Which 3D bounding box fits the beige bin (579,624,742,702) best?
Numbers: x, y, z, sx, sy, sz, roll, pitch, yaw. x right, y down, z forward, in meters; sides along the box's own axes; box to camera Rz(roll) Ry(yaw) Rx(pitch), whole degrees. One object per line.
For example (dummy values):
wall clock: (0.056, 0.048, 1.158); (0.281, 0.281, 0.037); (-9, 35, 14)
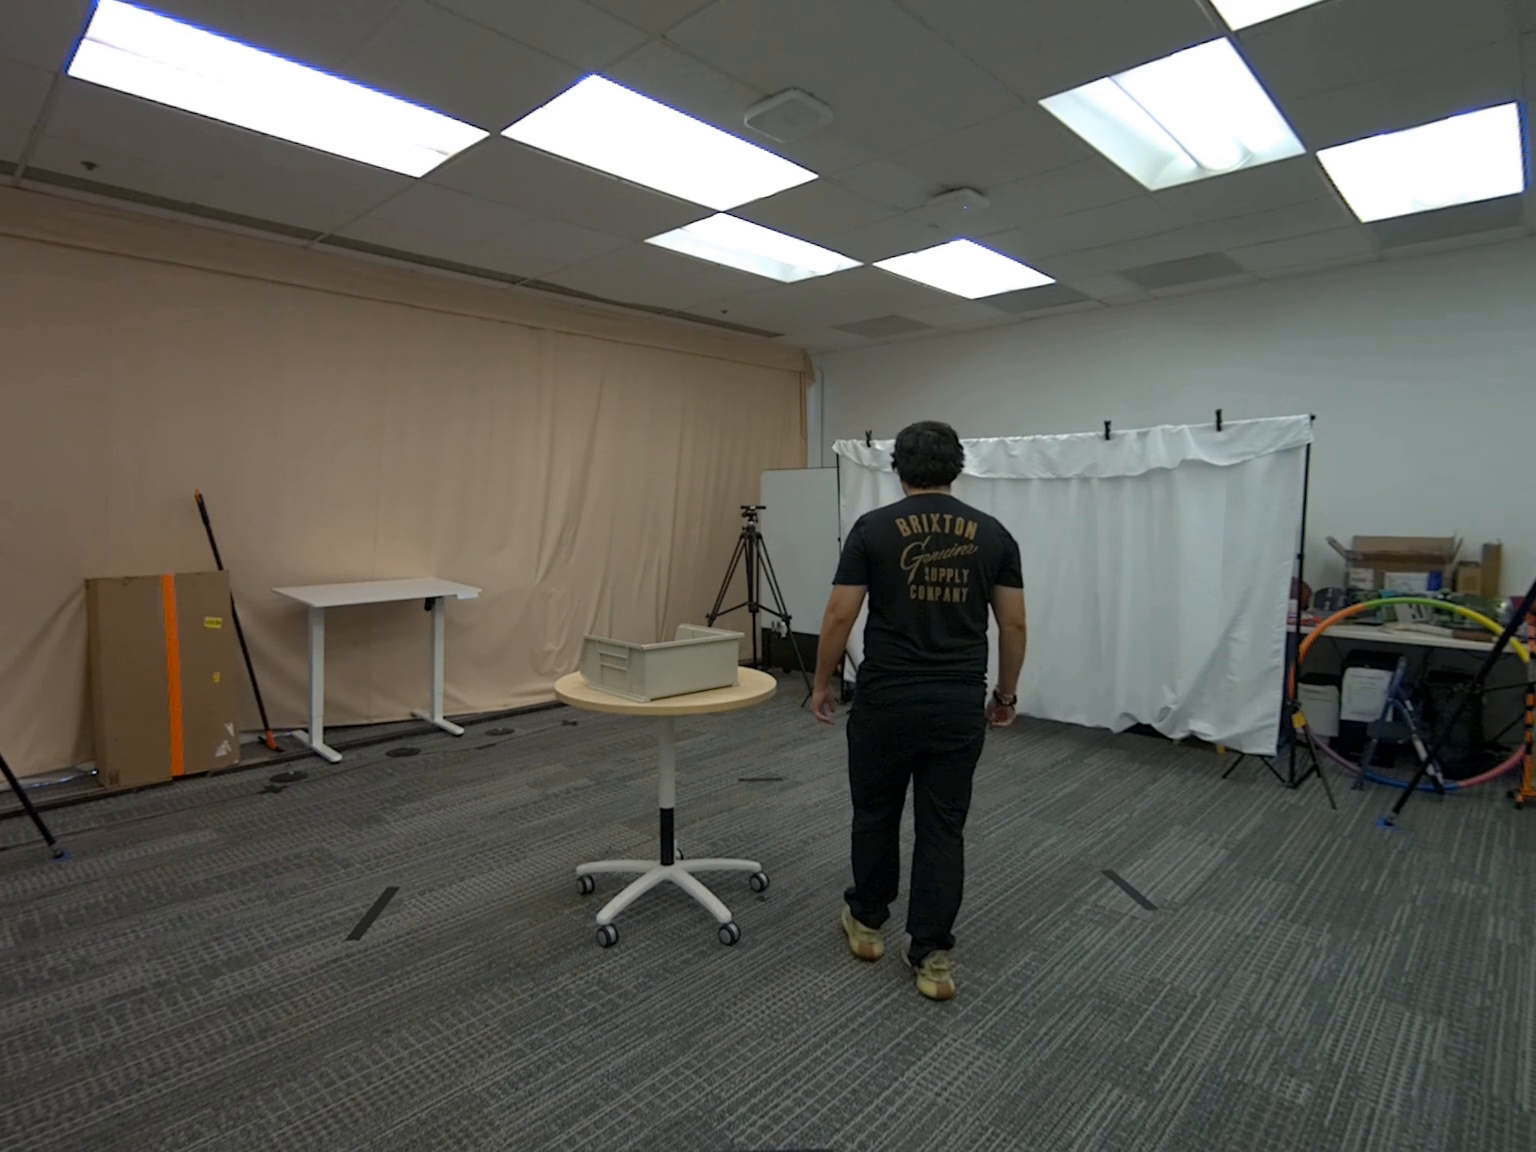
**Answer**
beige bin: (-0.363, 0.286, 2.845); (0.409, 0.188, 0.390); (-2, 5, -42)
